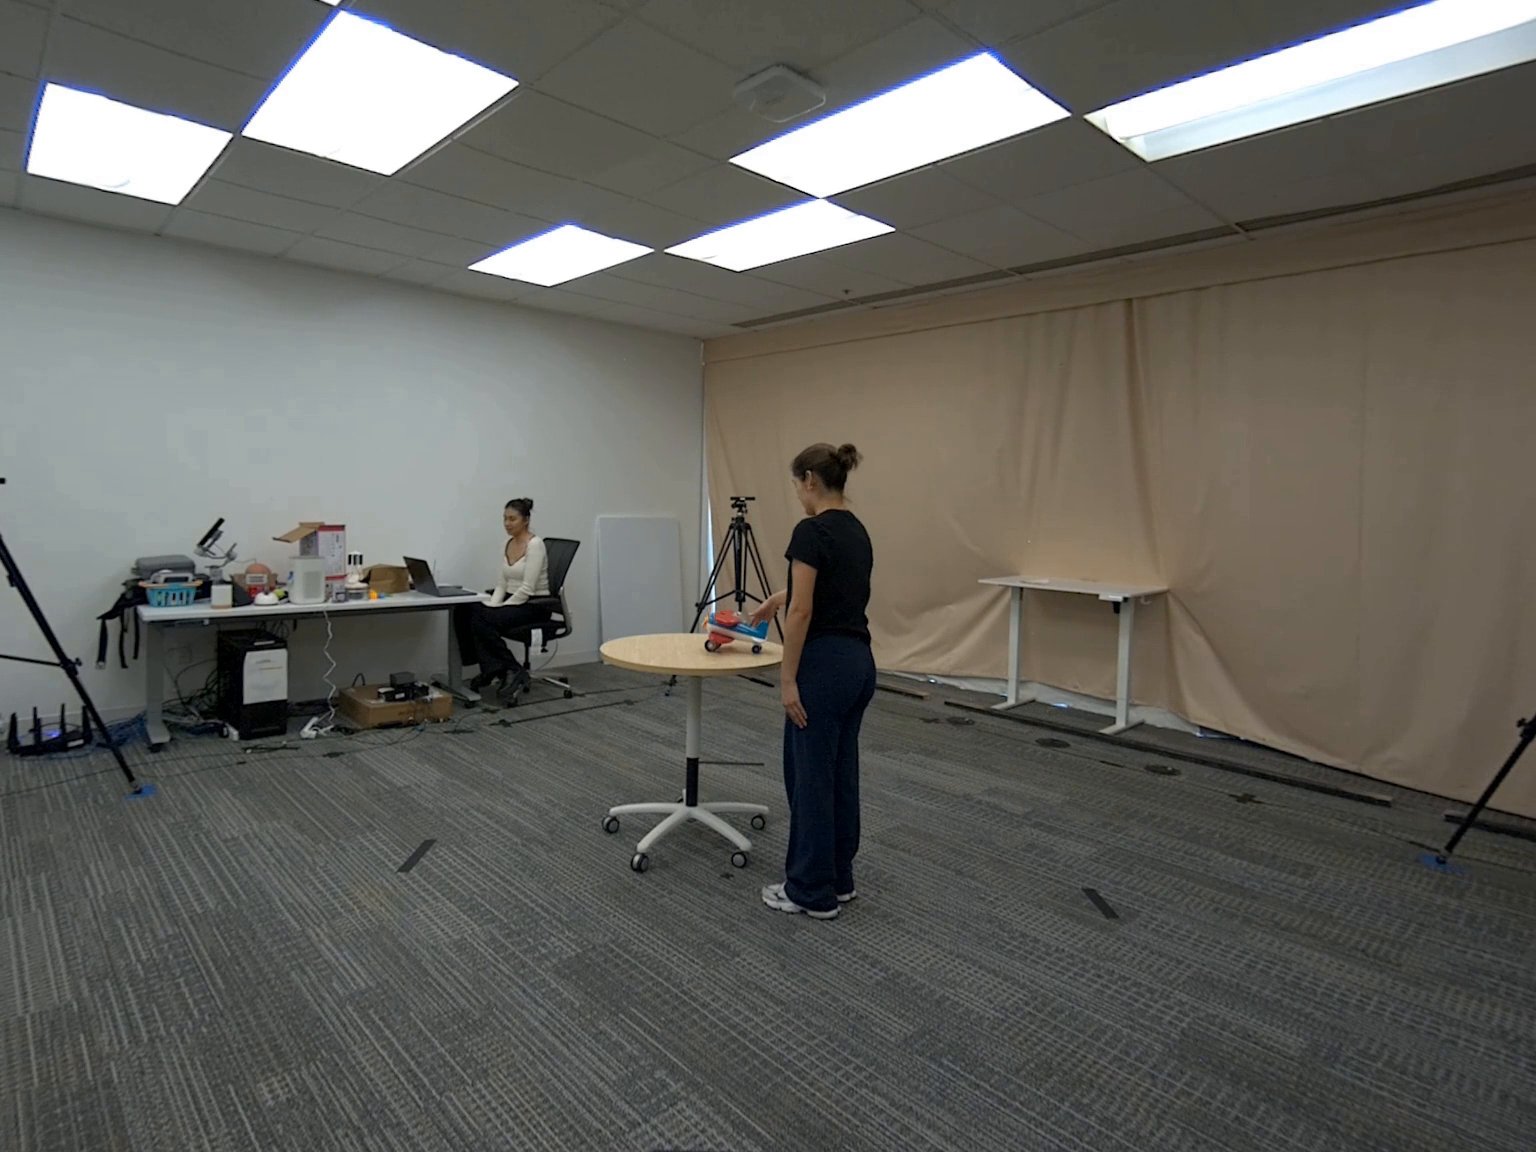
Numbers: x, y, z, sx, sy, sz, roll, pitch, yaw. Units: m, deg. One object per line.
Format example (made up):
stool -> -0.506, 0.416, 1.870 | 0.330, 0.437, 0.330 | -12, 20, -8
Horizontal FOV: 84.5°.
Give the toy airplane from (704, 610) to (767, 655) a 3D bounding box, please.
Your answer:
toy airplane -> -0.141, 0.223, 3.385 | 0.255, 0.156, 0.256 | 0, 6, -24
